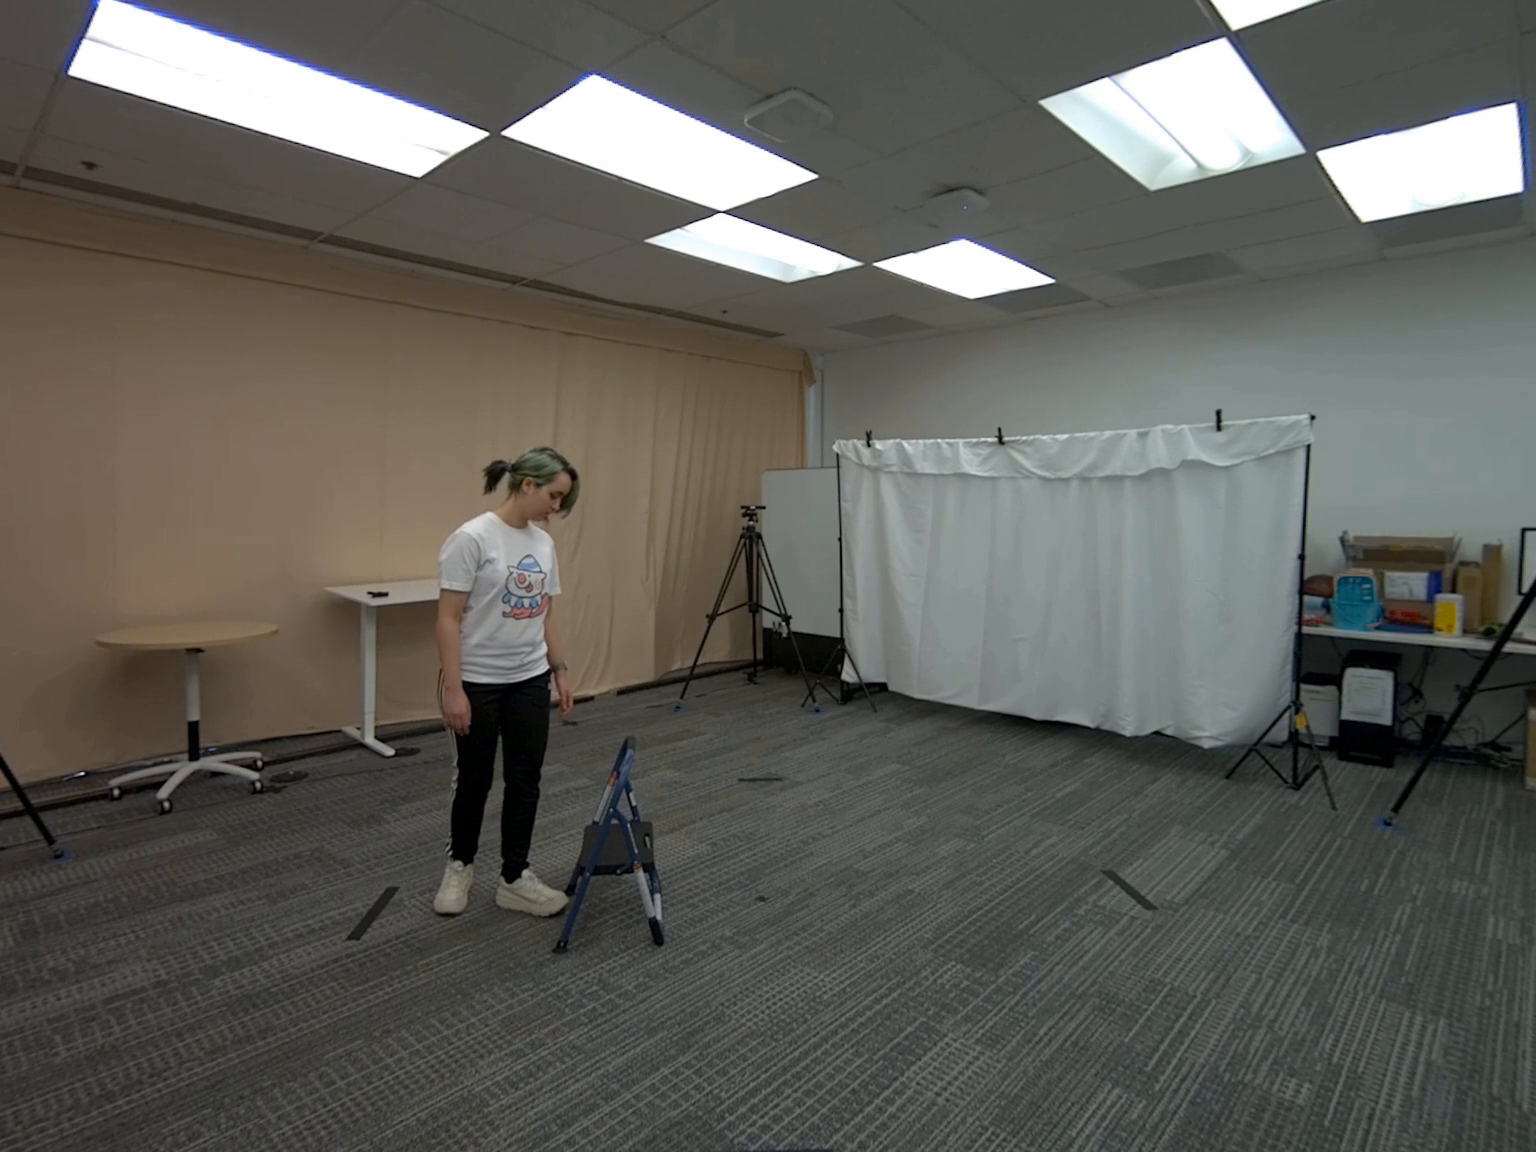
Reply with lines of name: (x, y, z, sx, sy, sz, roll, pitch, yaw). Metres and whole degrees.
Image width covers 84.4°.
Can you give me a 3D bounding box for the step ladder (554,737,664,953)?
step ladder: (-0.530, 0.861, 2.831, 0.347, 0.605, 0.435, -1, 3, -8)
